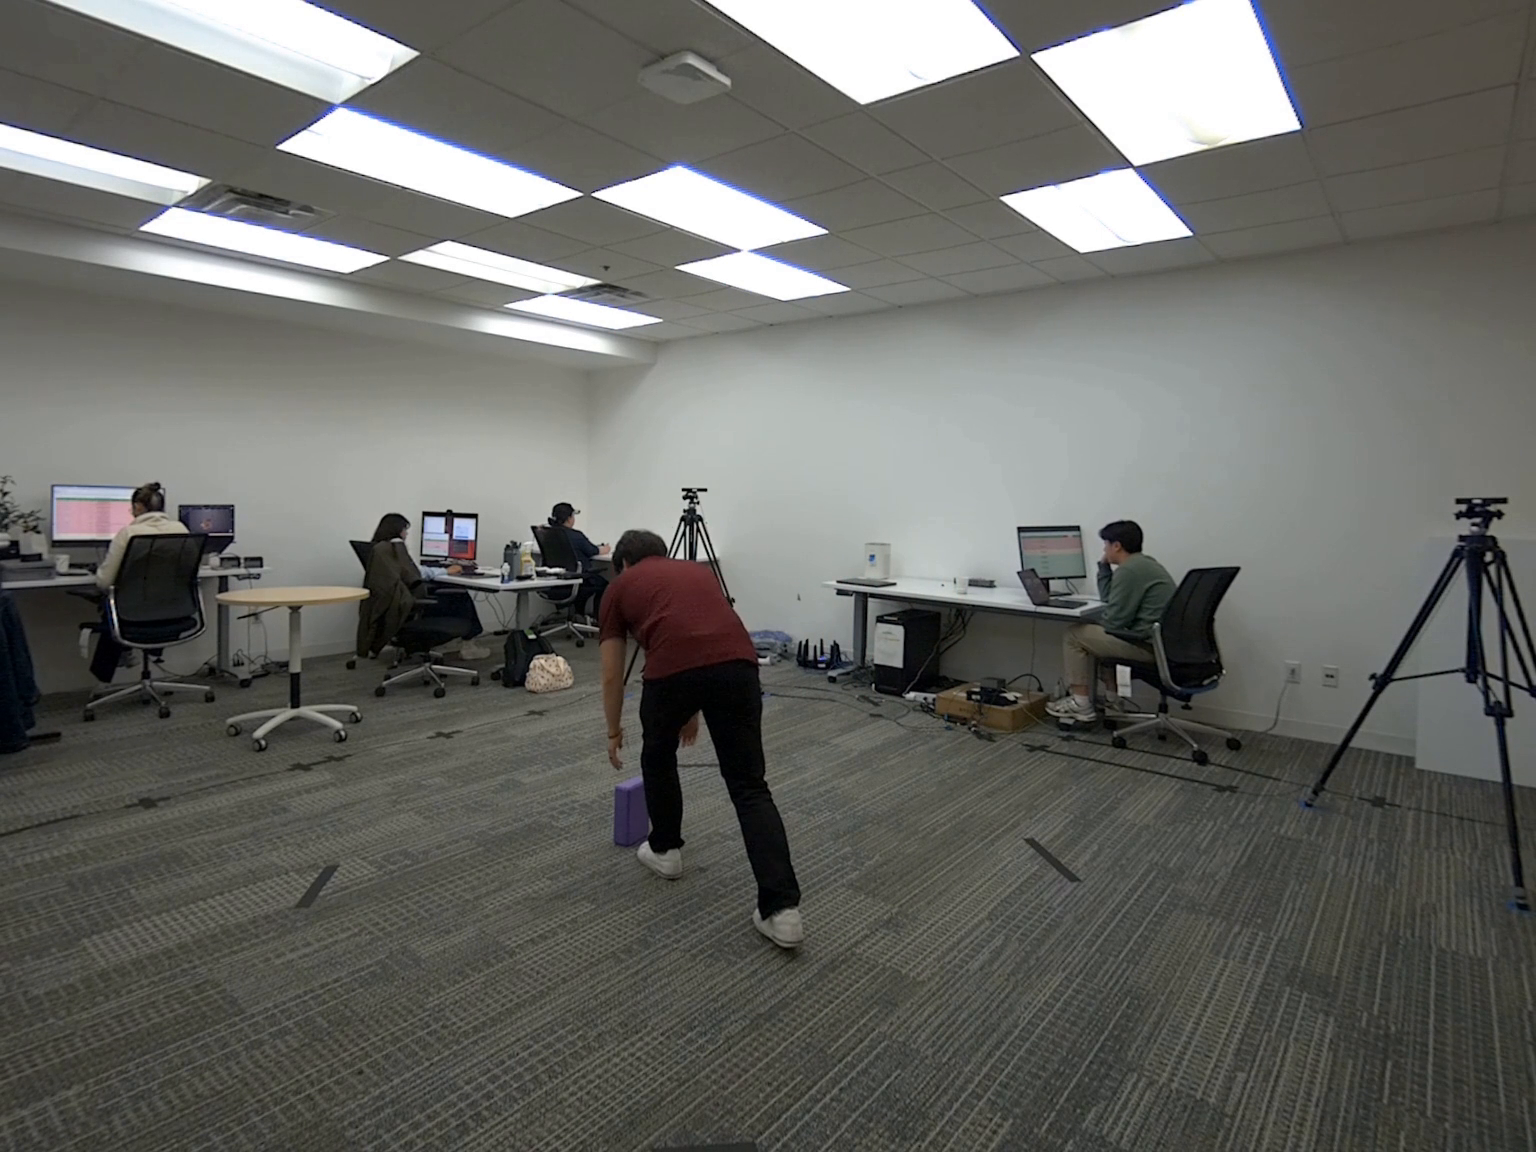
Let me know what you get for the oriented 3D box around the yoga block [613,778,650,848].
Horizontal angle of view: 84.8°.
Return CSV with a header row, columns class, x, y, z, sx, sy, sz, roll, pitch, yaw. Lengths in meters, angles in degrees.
class,x,y,z,sx,sy,sz,roll,pitch,yaw
yoga block,-0.551,0.923,3.356,0.078,0.229,0.145,2,3,27
